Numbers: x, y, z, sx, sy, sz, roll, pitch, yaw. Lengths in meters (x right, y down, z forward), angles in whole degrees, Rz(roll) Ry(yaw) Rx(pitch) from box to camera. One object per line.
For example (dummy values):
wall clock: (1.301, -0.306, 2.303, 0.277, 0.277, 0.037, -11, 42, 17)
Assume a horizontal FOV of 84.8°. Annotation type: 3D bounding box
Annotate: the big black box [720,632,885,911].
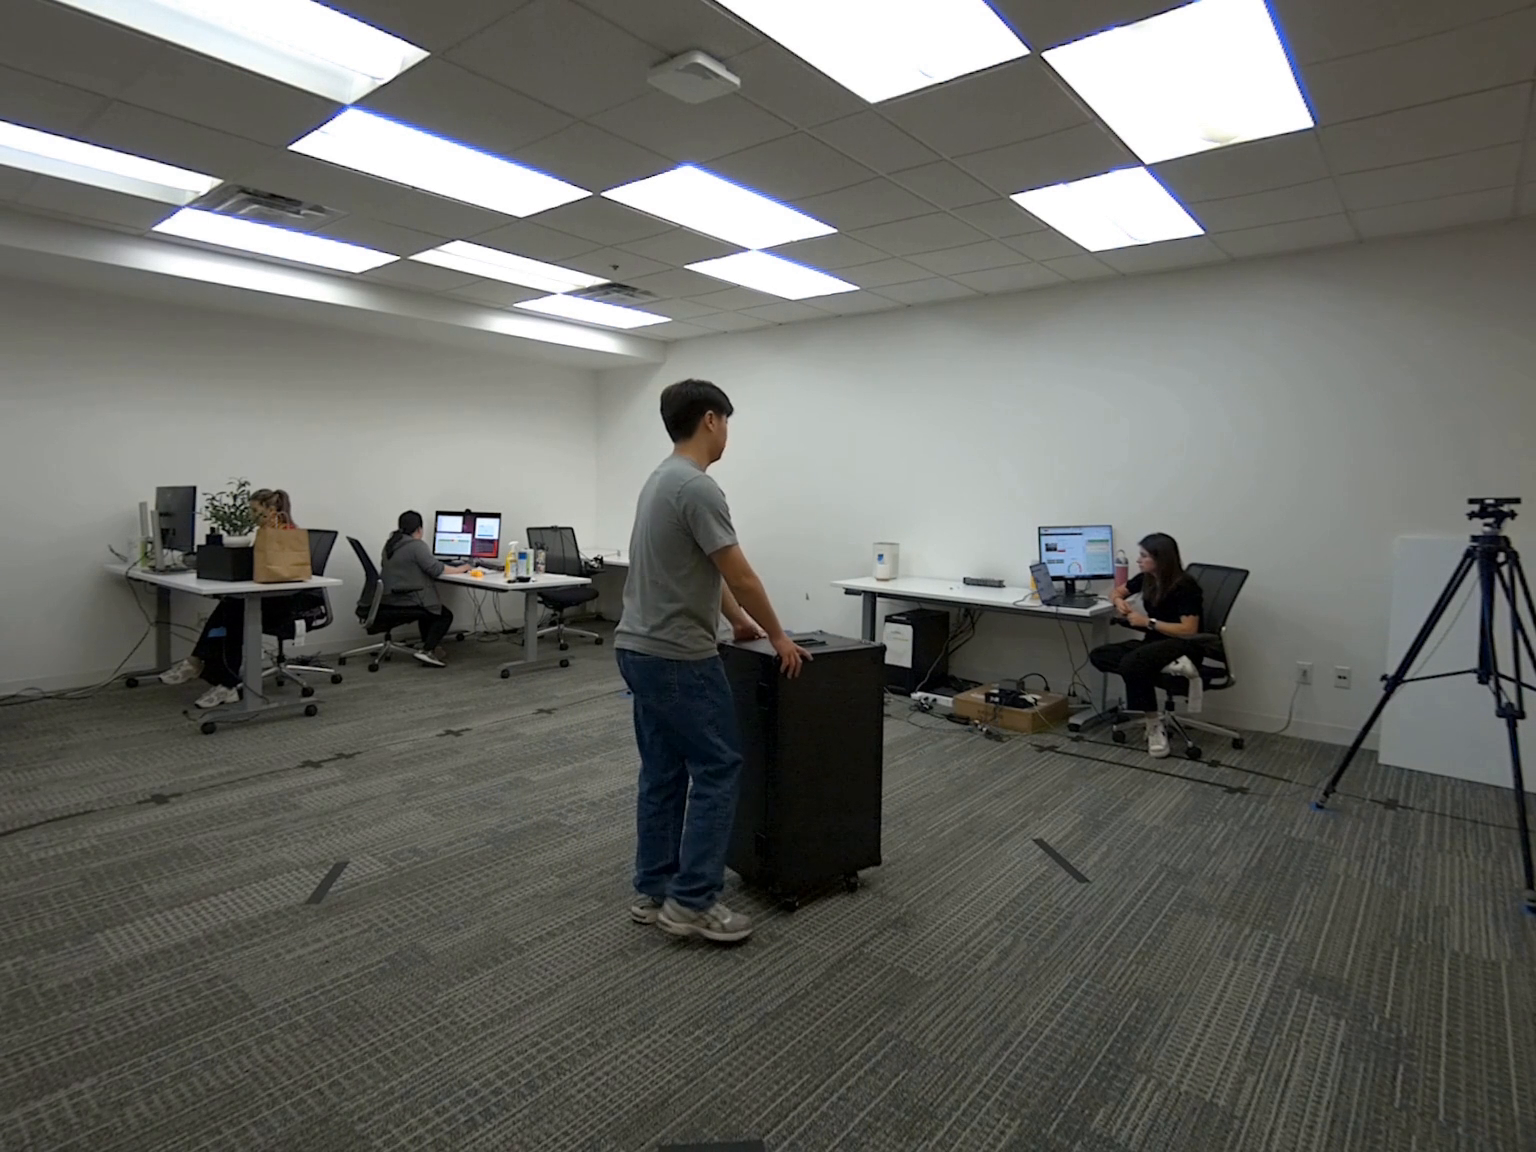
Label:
big black box: (0.092, 0.660, 3.013, 0.506, 0.860, 0.409, -2, 3, -35)
